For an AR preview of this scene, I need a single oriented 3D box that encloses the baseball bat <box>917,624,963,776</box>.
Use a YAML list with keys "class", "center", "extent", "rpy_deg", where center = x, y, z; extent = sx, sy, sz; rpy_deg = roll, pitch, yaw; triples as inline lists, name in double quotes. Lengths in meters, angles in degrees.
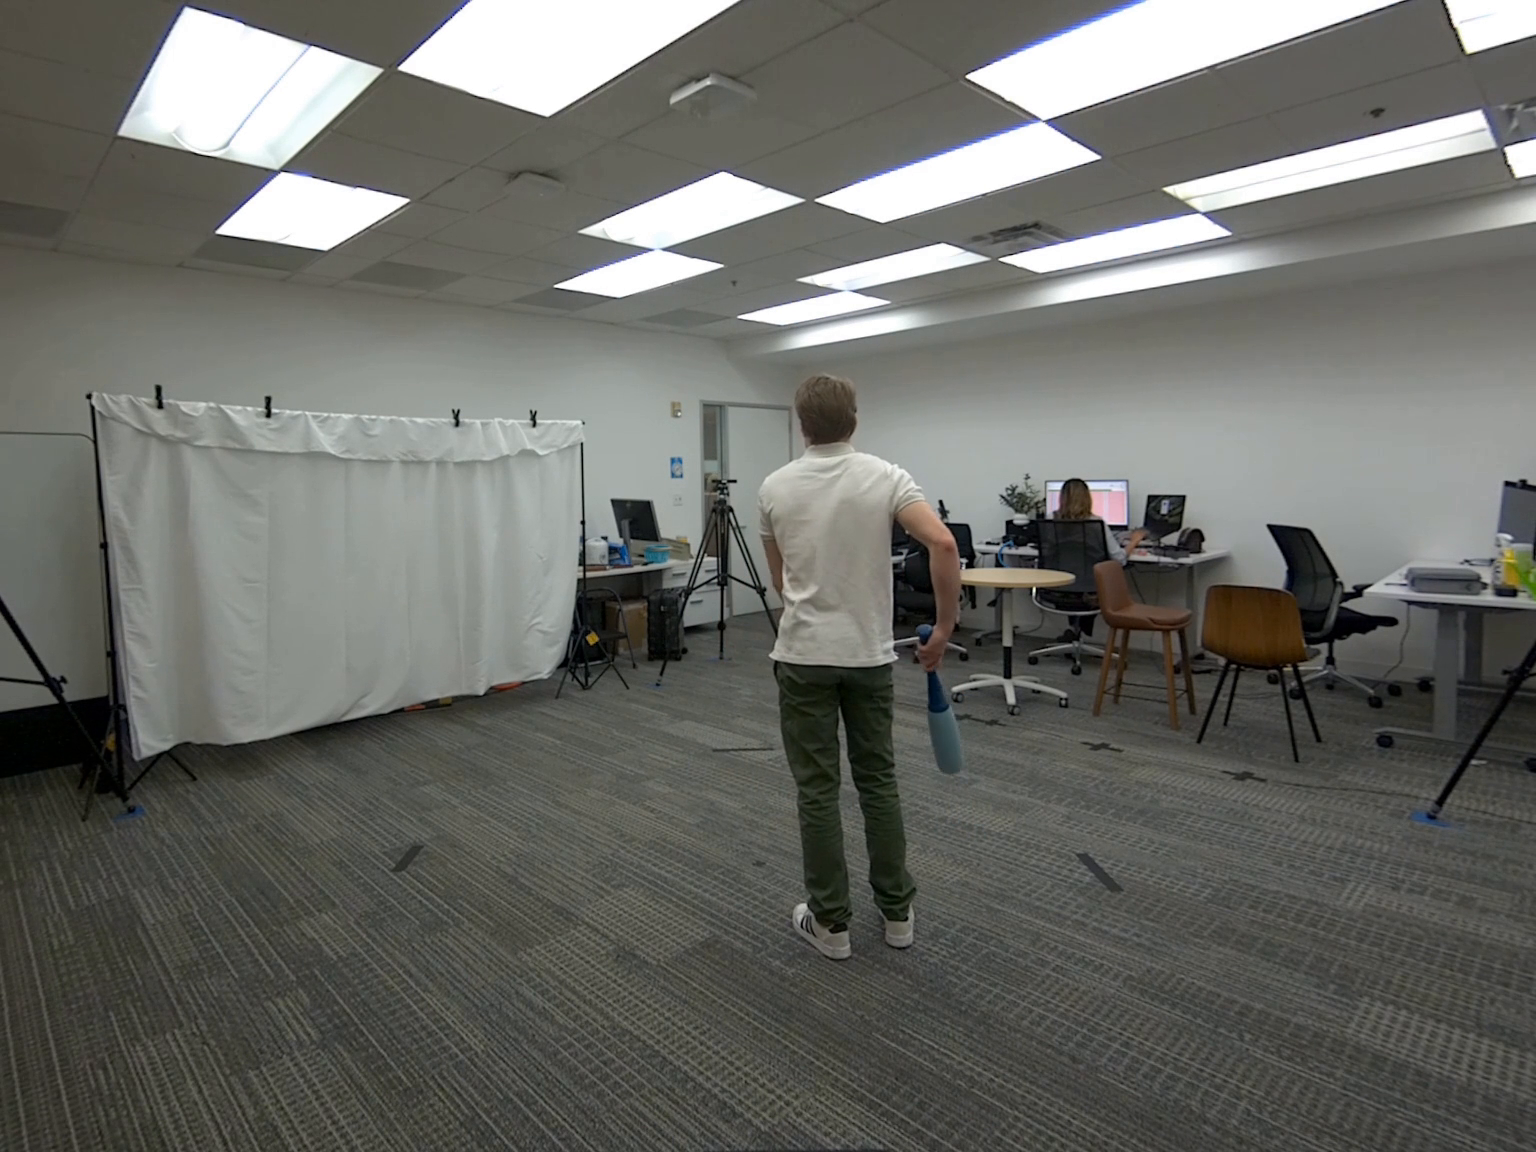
- class: "baseball bat"
  center: [0.510, 0.373, 2.594]
  extent: [0.089, 0.528, 0.091]
  rpy_deg: [-13, 26, 5]
